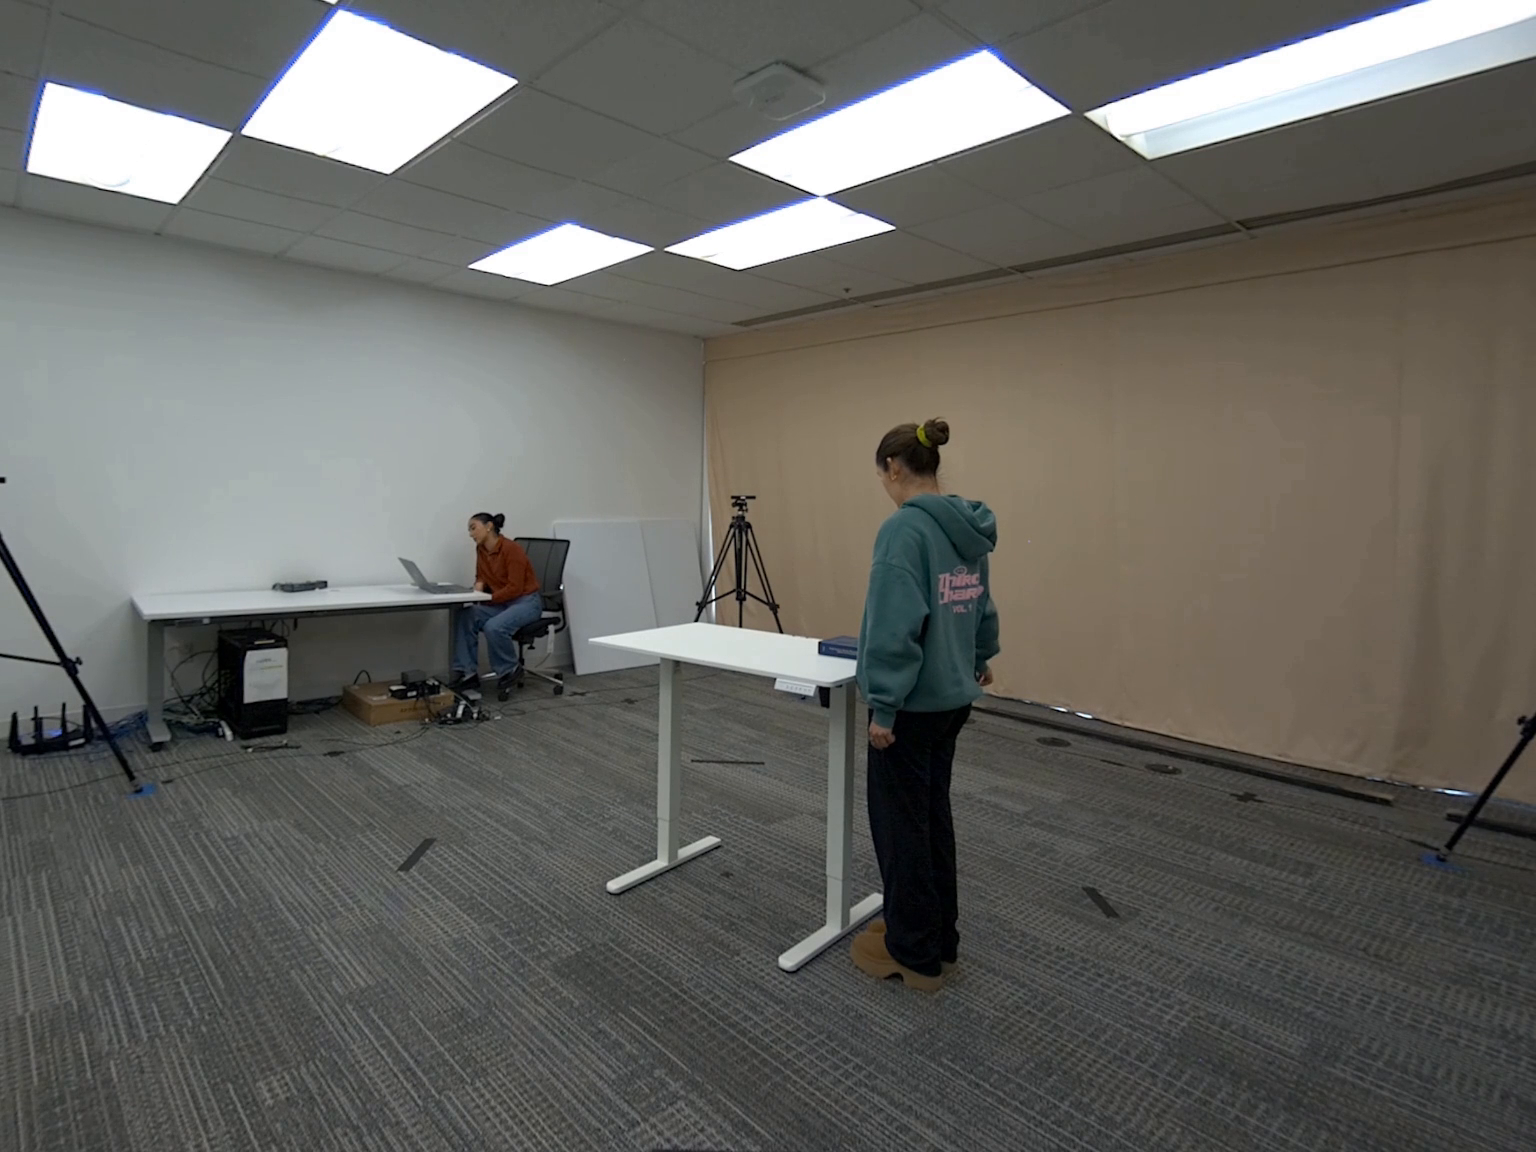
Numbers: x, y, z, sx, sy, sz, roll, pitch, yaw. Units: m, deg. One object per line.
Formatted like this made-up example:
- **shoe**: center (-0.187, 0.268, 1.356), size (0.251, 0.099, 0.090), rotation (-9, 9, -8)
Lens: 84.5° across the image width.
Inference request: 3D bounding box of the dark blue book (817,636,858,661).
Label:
- **dark blue book**: center (0.298, 0.243, 2.755), size (0.251, 0.045, 0.160), rotation (4, 6, 34)
